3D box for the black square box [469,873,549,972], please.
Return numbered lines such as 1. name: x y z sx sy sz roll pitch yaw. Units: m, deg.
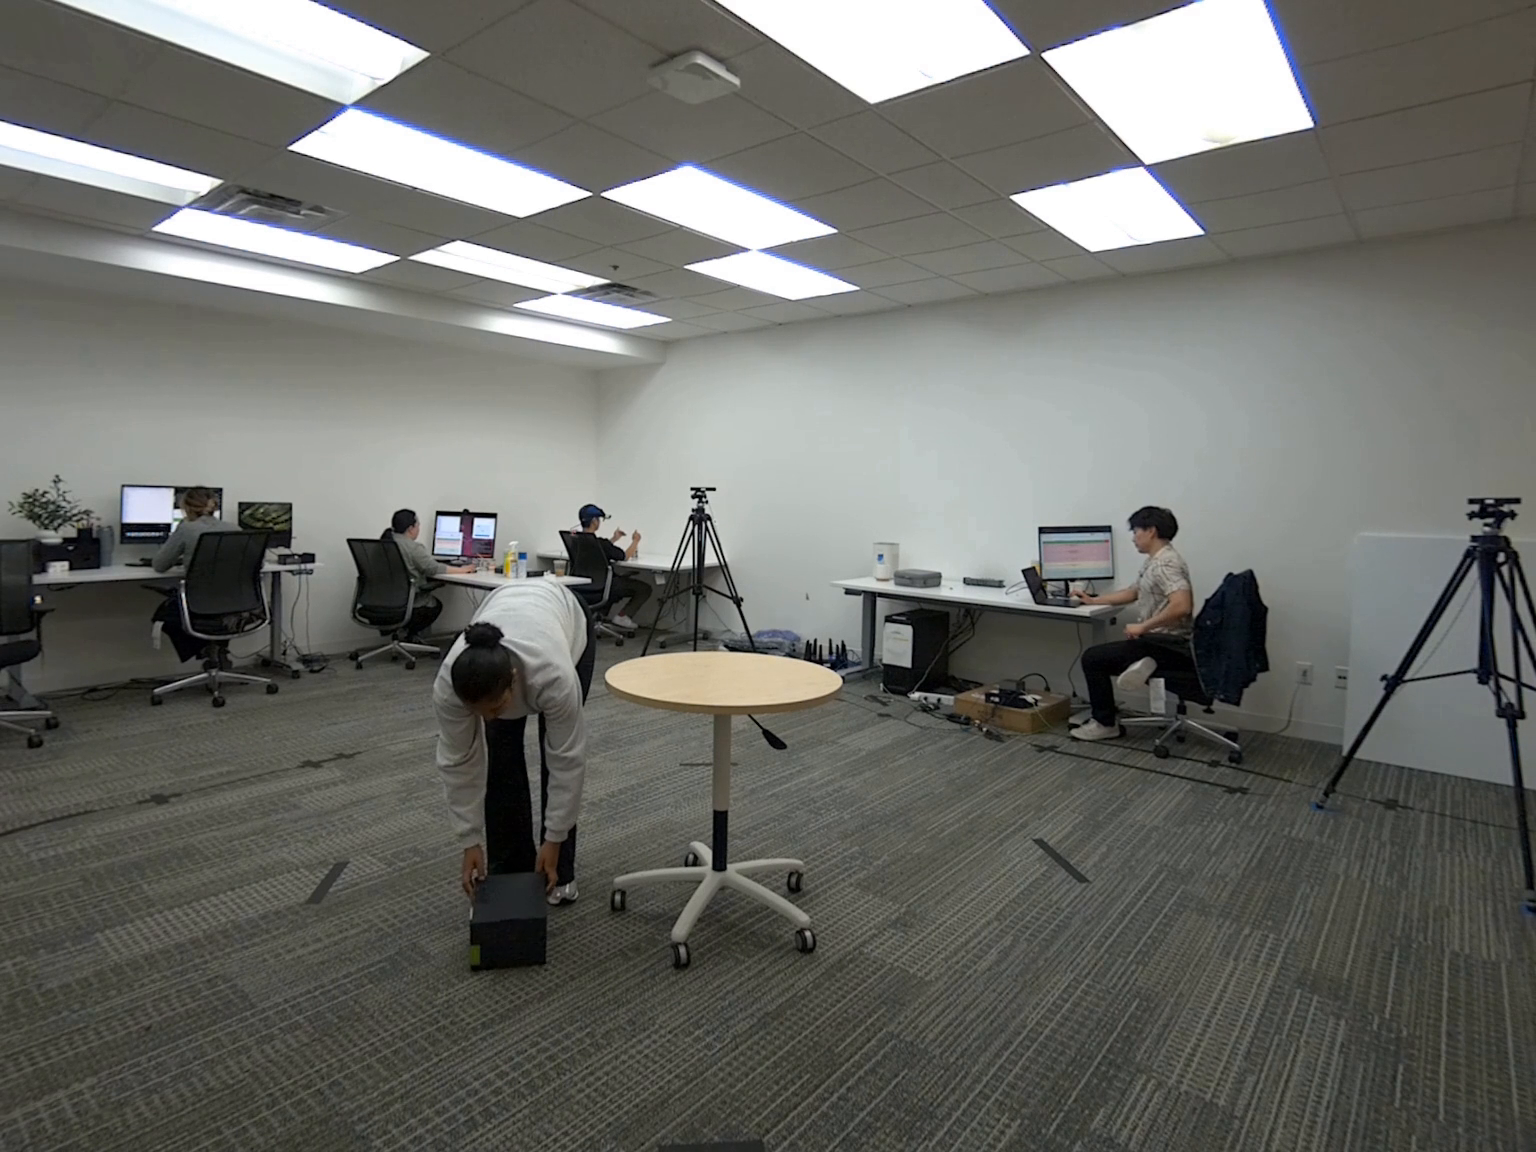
1. black square box: -0.785 1.009 2.533 0.214 0.154 0.234 0 13 -15
